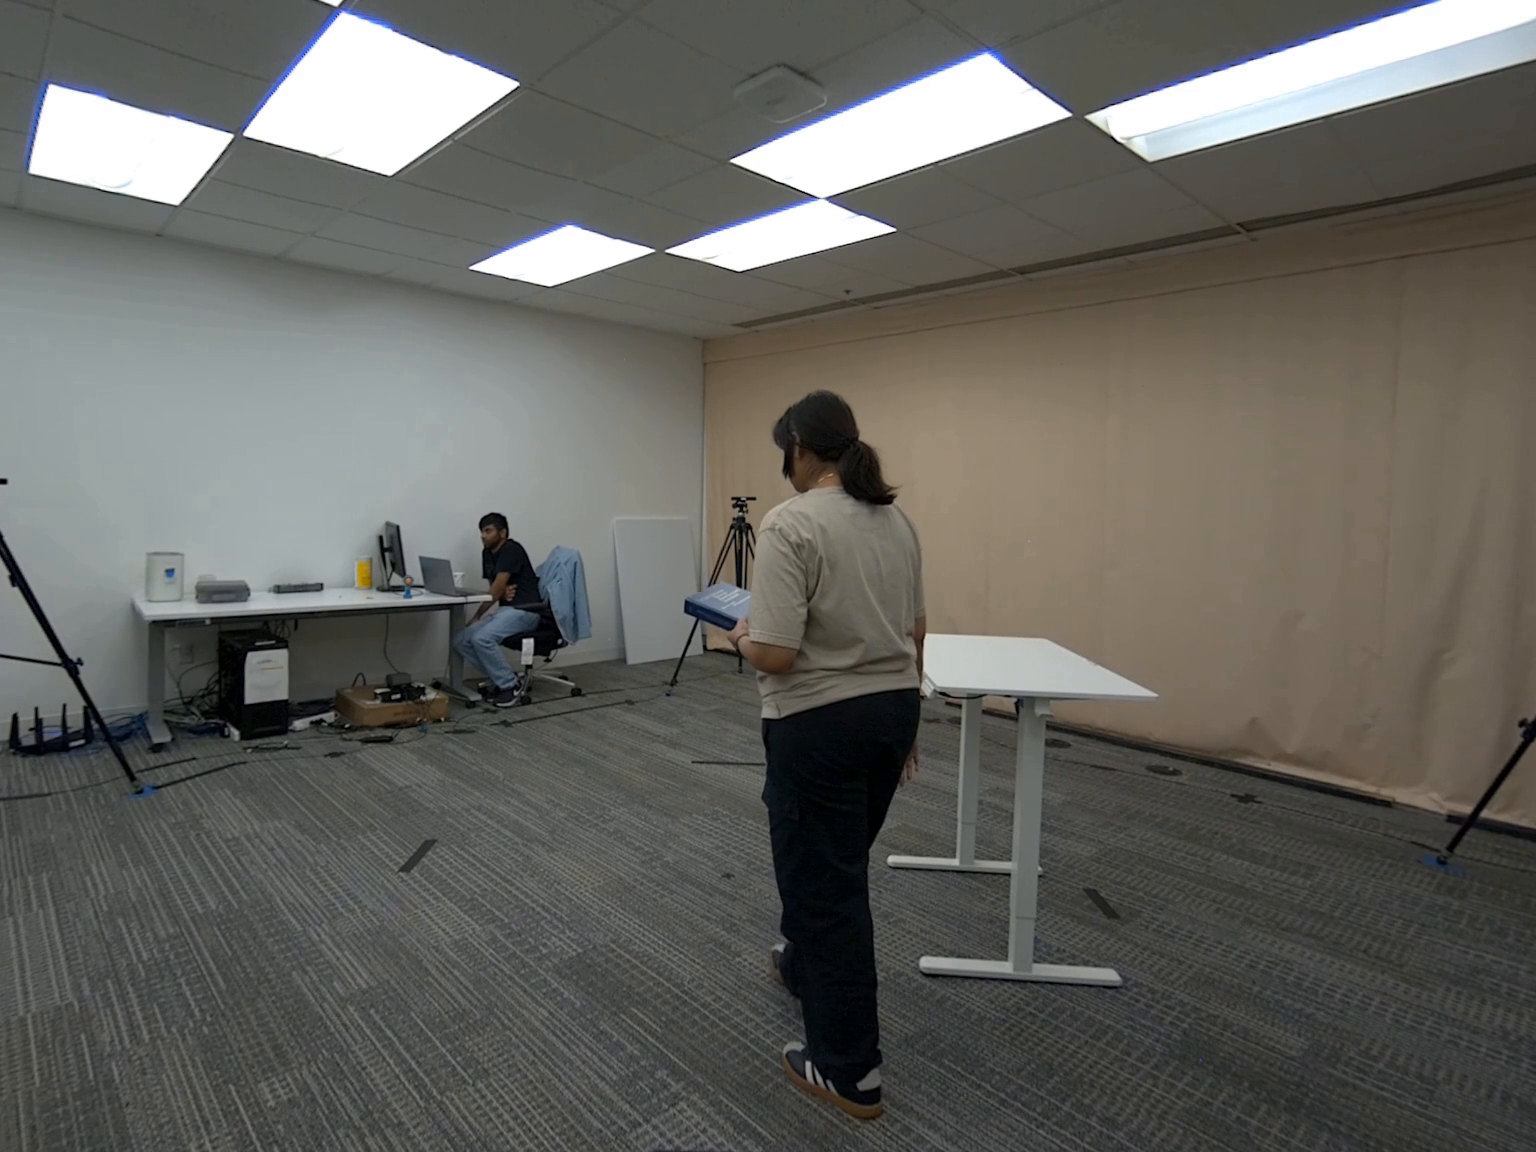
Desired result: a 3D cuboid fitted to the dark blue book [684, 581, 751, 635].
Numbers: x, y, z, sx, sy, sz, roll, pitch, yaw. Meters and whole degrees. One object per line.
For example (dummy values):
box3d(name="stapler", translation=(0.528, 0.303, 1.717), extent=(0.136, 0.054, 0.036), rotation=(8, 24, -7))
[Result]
box3d(name="dark blue book", translation=(-0.076, 0.094, 2.233), extent=(0.252, 0.044, 0.161), rotation=(22, 28, 35))
